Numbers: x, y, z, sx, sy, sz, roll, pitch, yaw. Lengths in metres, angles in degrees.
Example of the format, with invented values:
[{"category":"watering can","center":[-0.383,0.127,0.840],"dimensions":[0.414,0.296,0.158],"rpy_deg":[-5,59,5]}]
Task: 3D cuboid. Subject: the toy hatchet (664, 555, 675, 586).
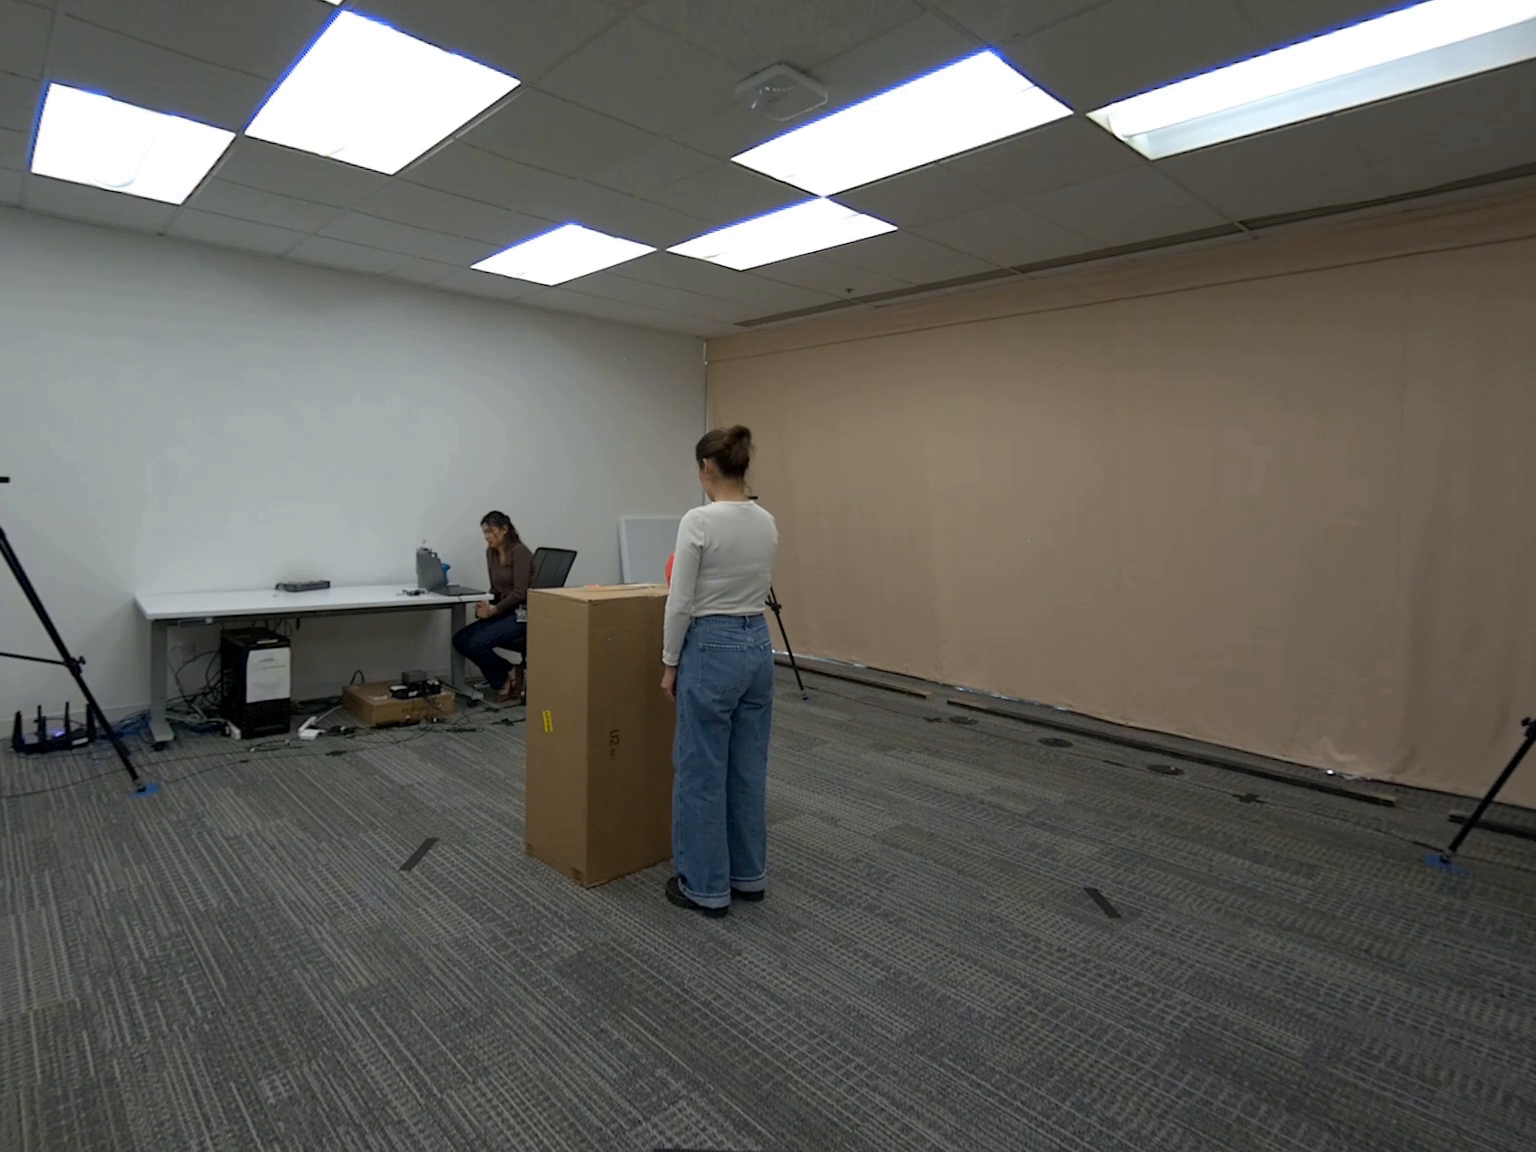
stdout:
[{"category":"toy hatchet","center":[-0.333,-0.031,3.340],"dimensions":[0.029,0.131,0.276],"rpy_deg":[2,-2,-39]}]
